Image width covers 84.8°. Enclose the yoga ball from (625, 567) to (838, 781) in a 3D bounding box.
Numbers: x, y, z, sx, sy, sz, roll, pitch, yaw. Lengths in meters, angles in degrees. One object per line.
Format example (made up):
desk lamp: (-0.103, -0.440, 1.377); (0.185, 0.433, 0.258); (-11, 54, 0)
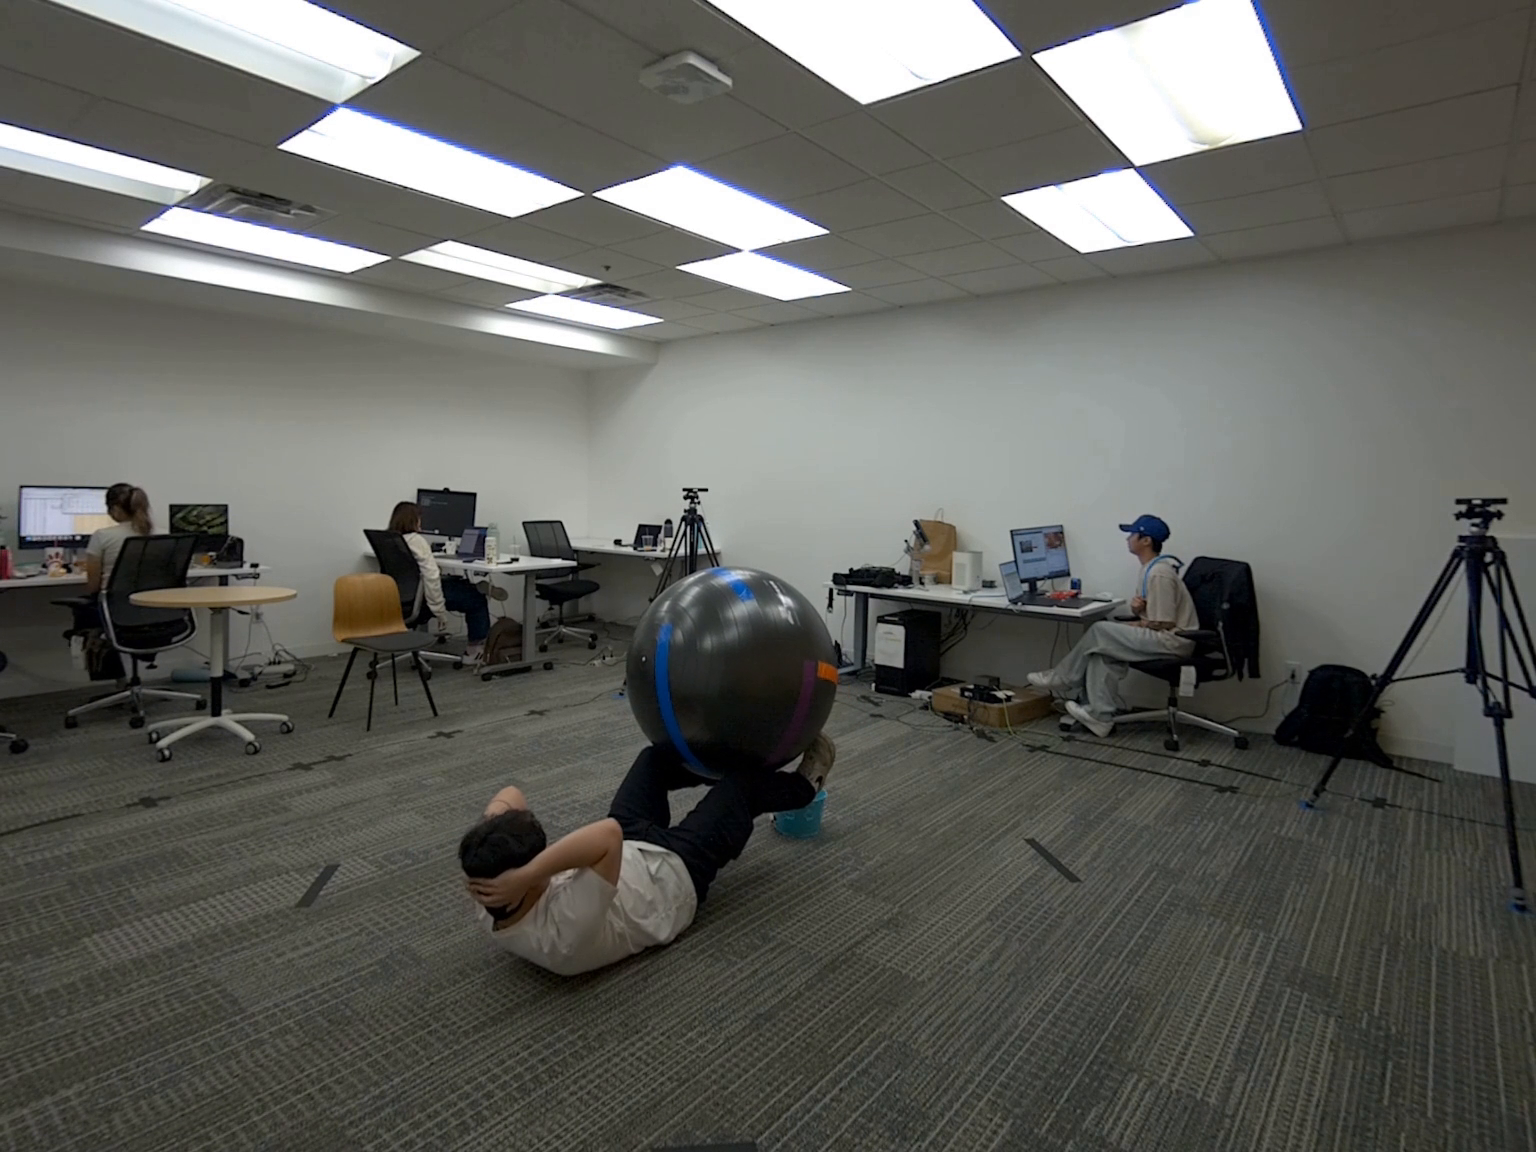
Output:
yoga ball: (-0.142, 0.340, 3.066); (0.757, 0.755, 0.762); (1, 4, -2)
